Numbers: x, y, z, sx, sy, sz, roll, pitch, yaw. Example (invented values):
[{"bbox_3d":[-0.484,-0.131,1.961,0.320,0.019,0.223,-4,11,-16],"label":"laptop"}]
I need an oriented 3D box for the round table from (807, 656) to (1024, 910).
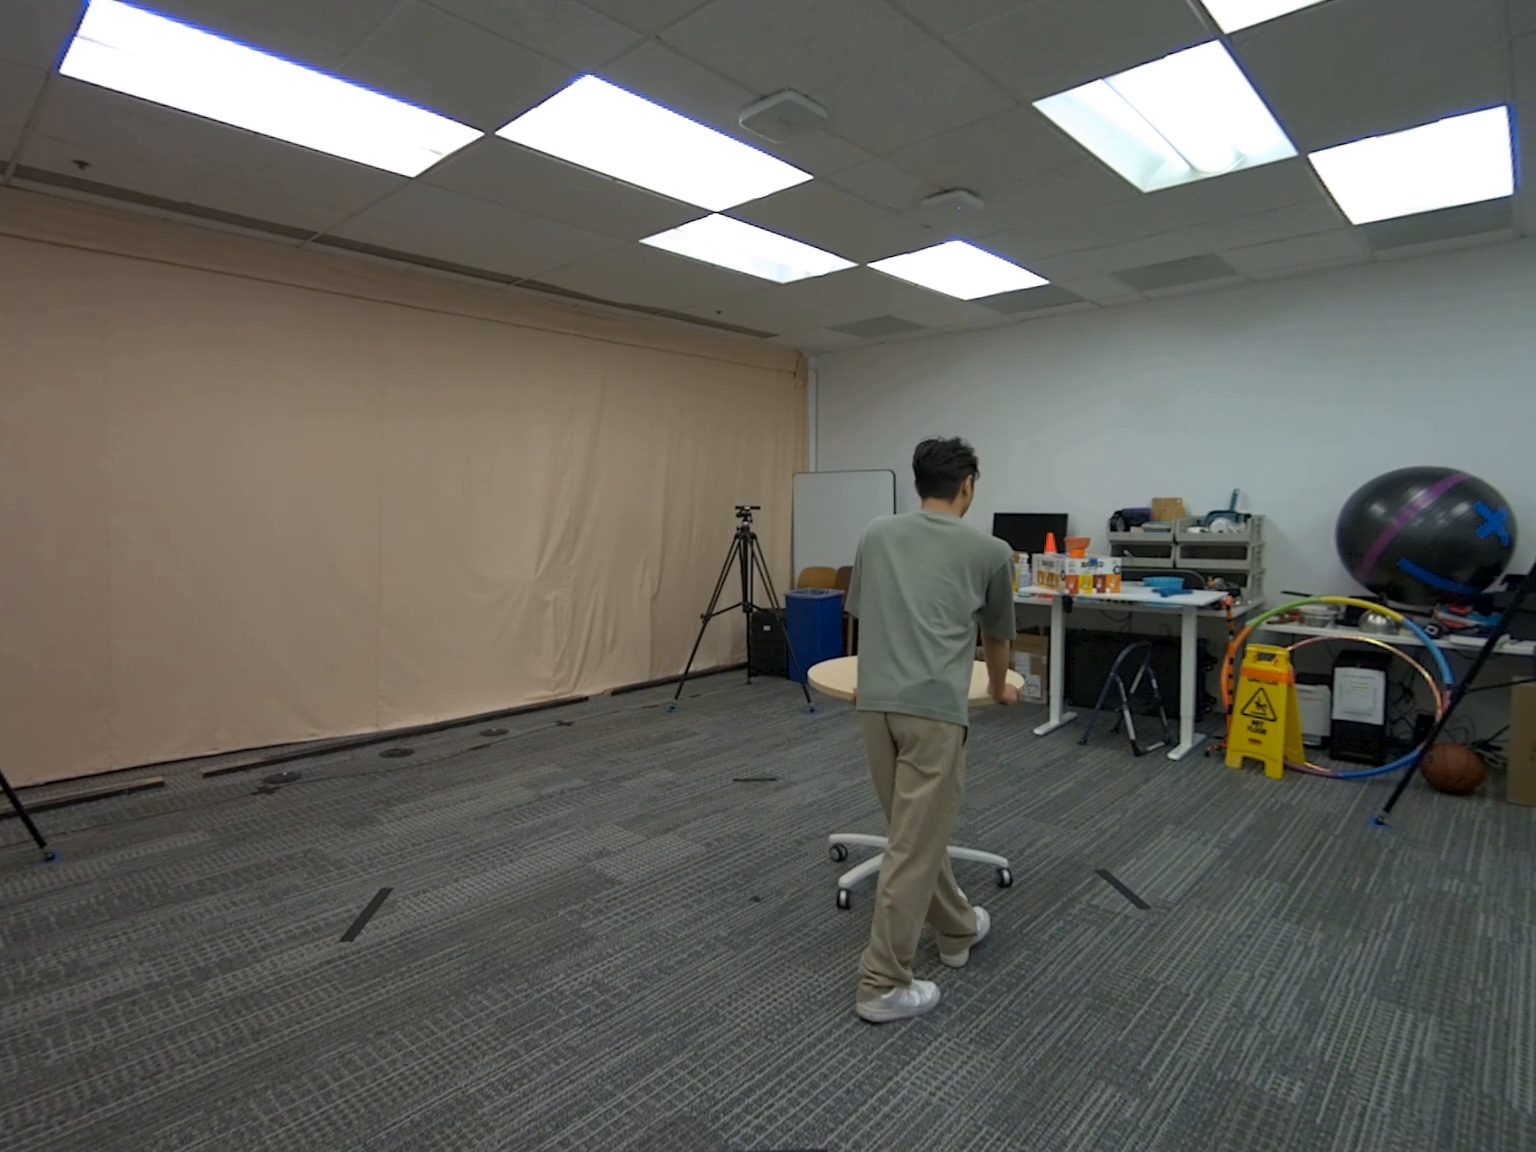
[{"bbox_3d":[0.548,0.743,3.108,0.784,0.784,0.788,0,5,-2],"label":"round table"}]
